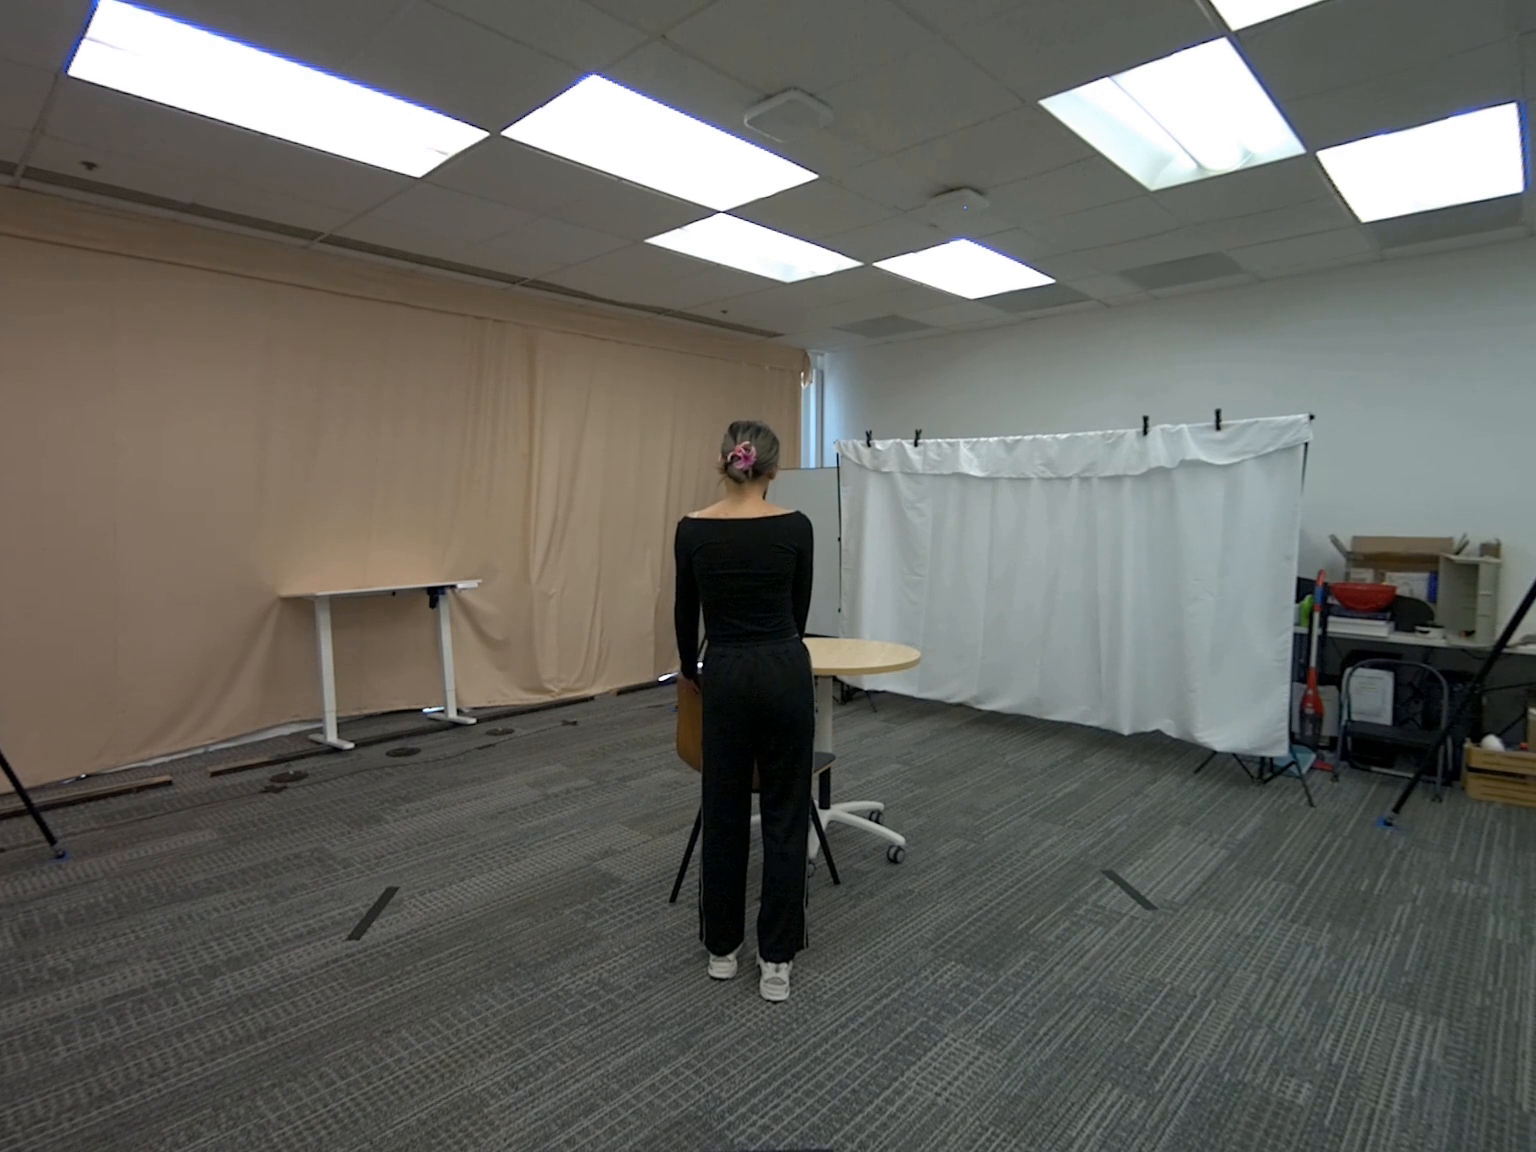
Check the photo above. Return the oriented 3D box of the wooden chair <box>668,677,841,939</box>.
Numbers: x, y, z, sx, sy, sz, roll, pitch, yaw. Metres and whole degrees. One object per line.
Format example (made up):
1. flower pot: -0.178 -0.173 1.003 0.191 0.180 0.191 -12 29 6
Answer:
1. wooden chair: -0.040 0.712 2.999 0.492 0.873 0.510 1 8 32
